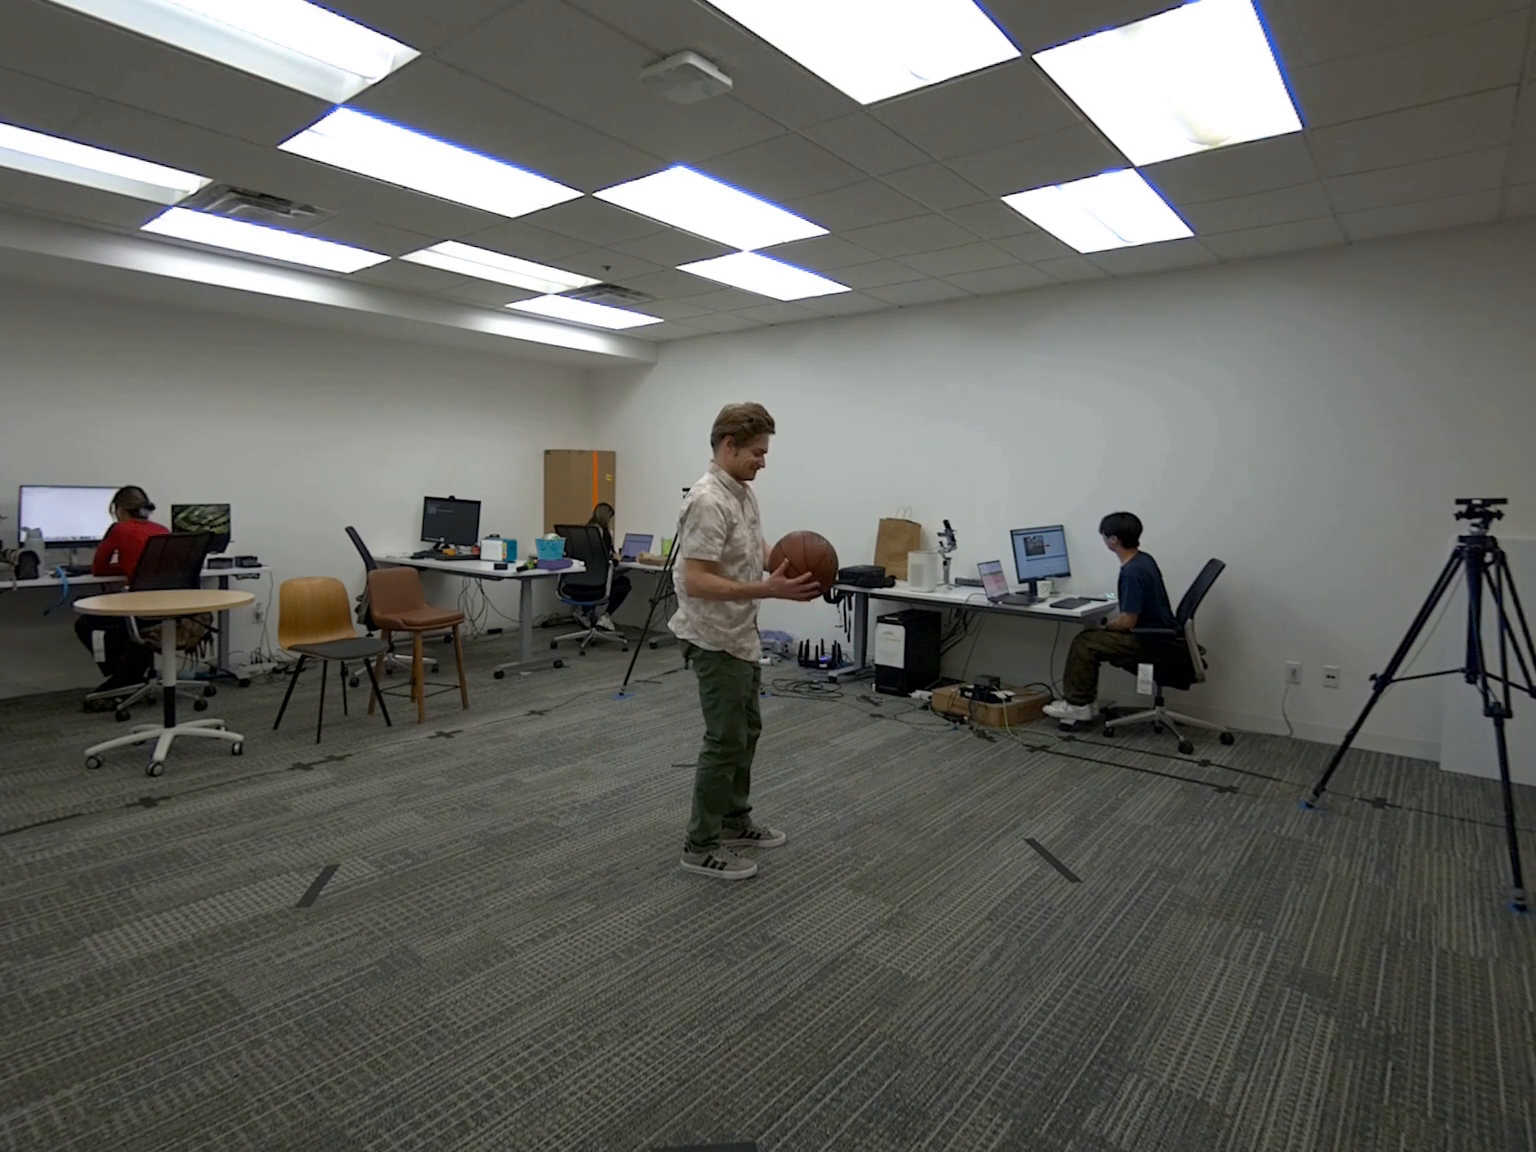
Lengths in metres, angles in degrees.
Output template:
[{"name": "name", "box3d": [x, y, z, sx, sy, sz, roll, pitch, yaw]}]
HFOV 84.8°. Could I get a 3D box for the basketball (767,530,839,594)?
[{"name": "basketball", "box3d": [0.118, -0.037, 2.896, 0.236, 0.235, 0.237, 1, 4, -2]}]
